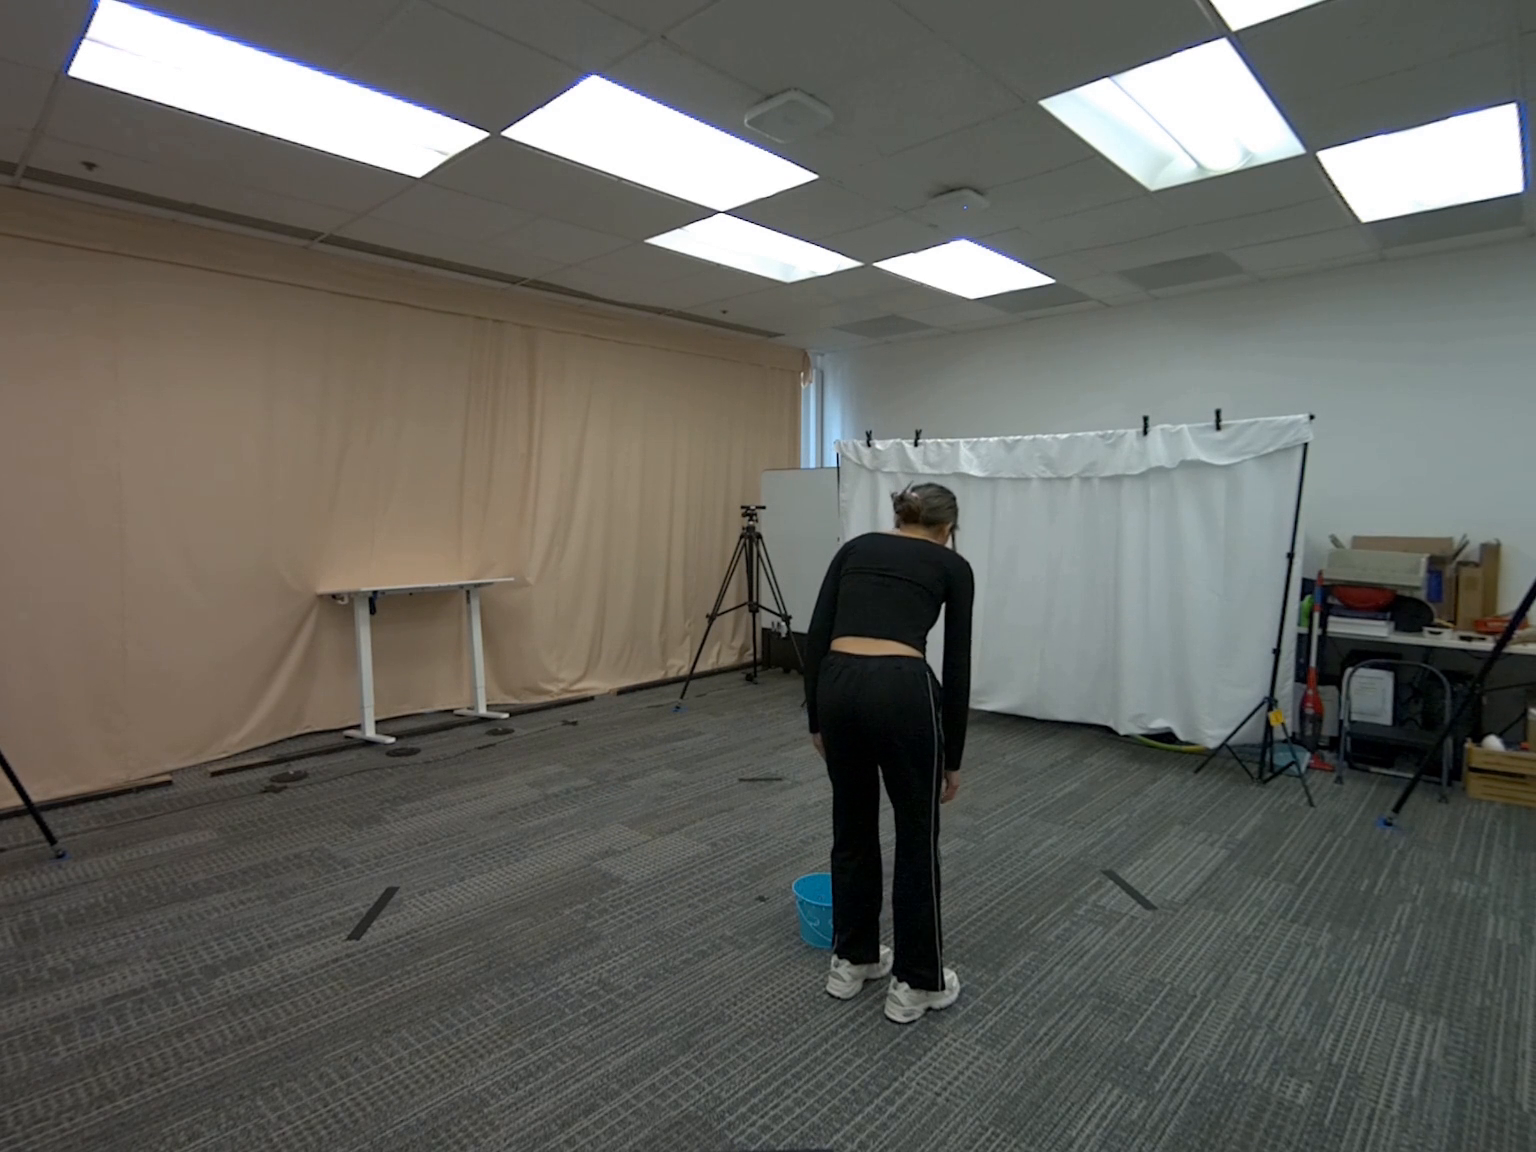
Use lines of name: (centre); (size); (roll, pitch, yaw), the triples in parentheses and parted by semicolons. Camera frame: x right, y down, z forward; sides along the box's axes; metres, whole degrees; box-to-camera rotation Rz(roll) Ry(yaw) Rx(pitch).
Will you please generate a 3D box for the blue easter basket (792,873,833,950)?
blue easter basket: (0.198, 1.088, 2.723); (0.243, 0.155, 0.244); (0, 5, -2)
